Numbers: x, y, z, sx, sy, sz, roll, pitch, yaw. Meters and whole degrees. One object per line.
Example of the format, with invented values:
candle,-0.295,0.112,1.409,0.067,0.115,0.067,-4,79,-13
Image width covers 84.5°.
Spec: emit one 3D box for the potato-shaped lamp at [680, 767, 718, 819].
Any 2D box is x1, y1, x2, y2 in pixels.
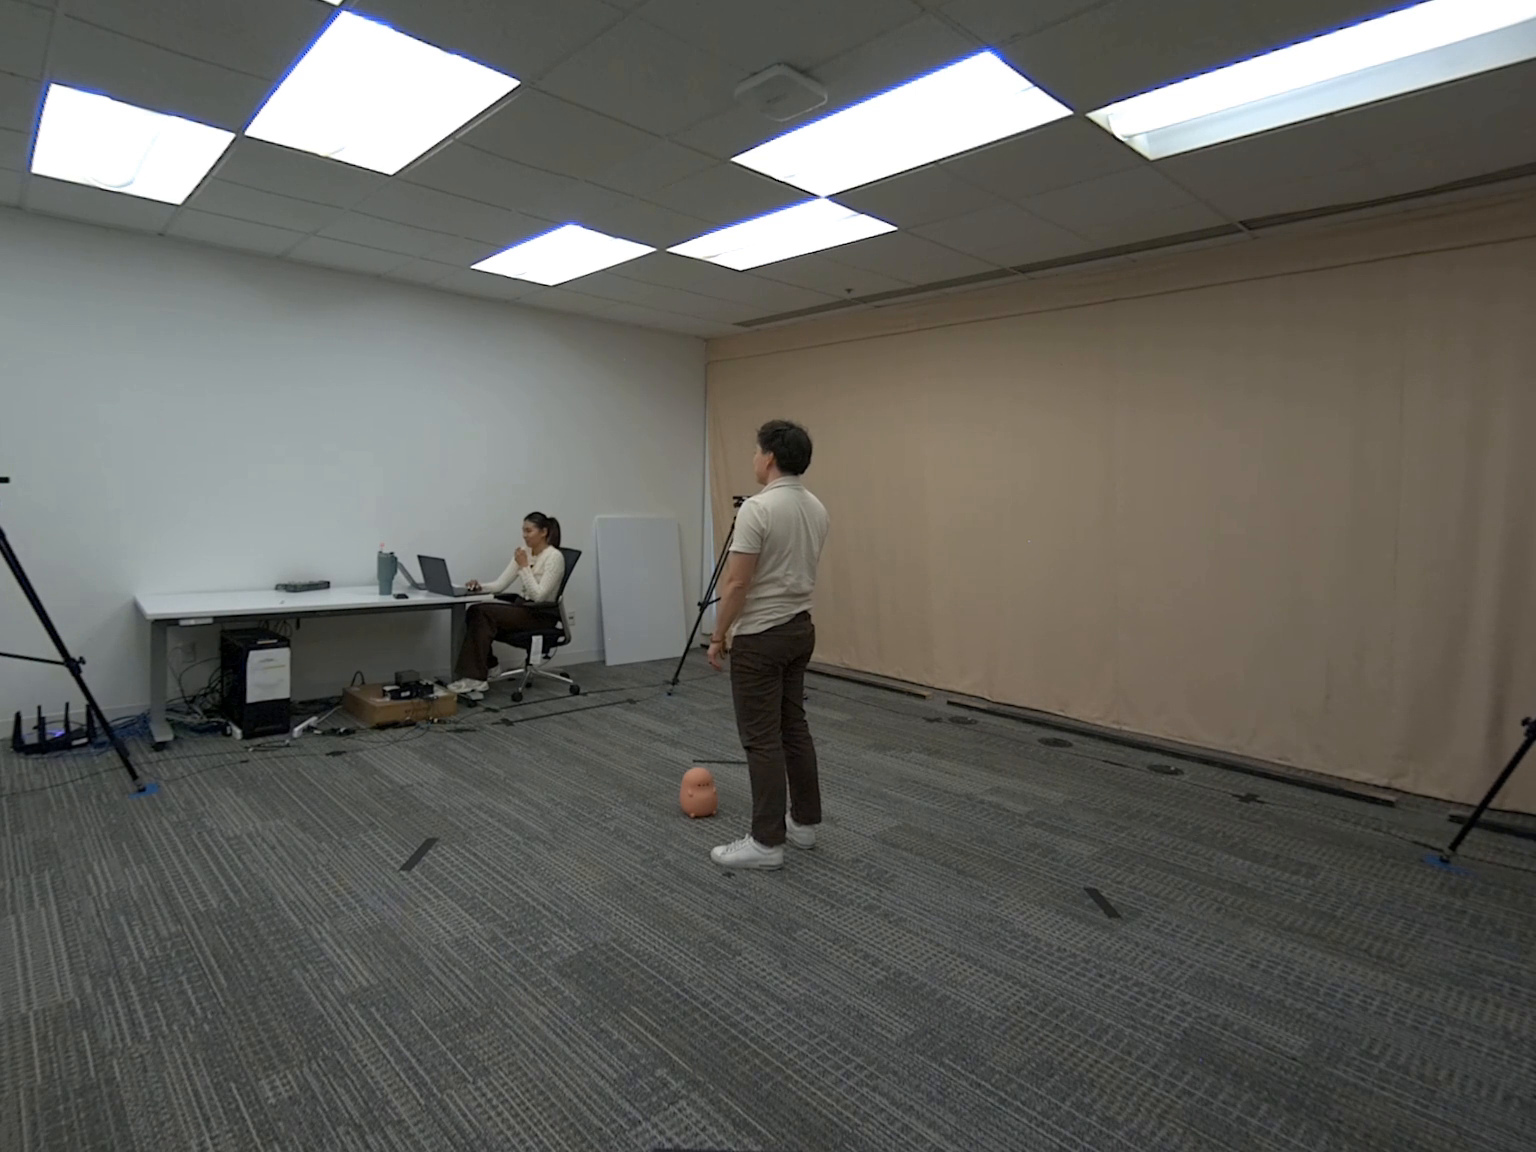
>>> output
potato-shaped lamp,-0.321,0.948,3.716,0.162,0.198,0.175,2,2,-25
